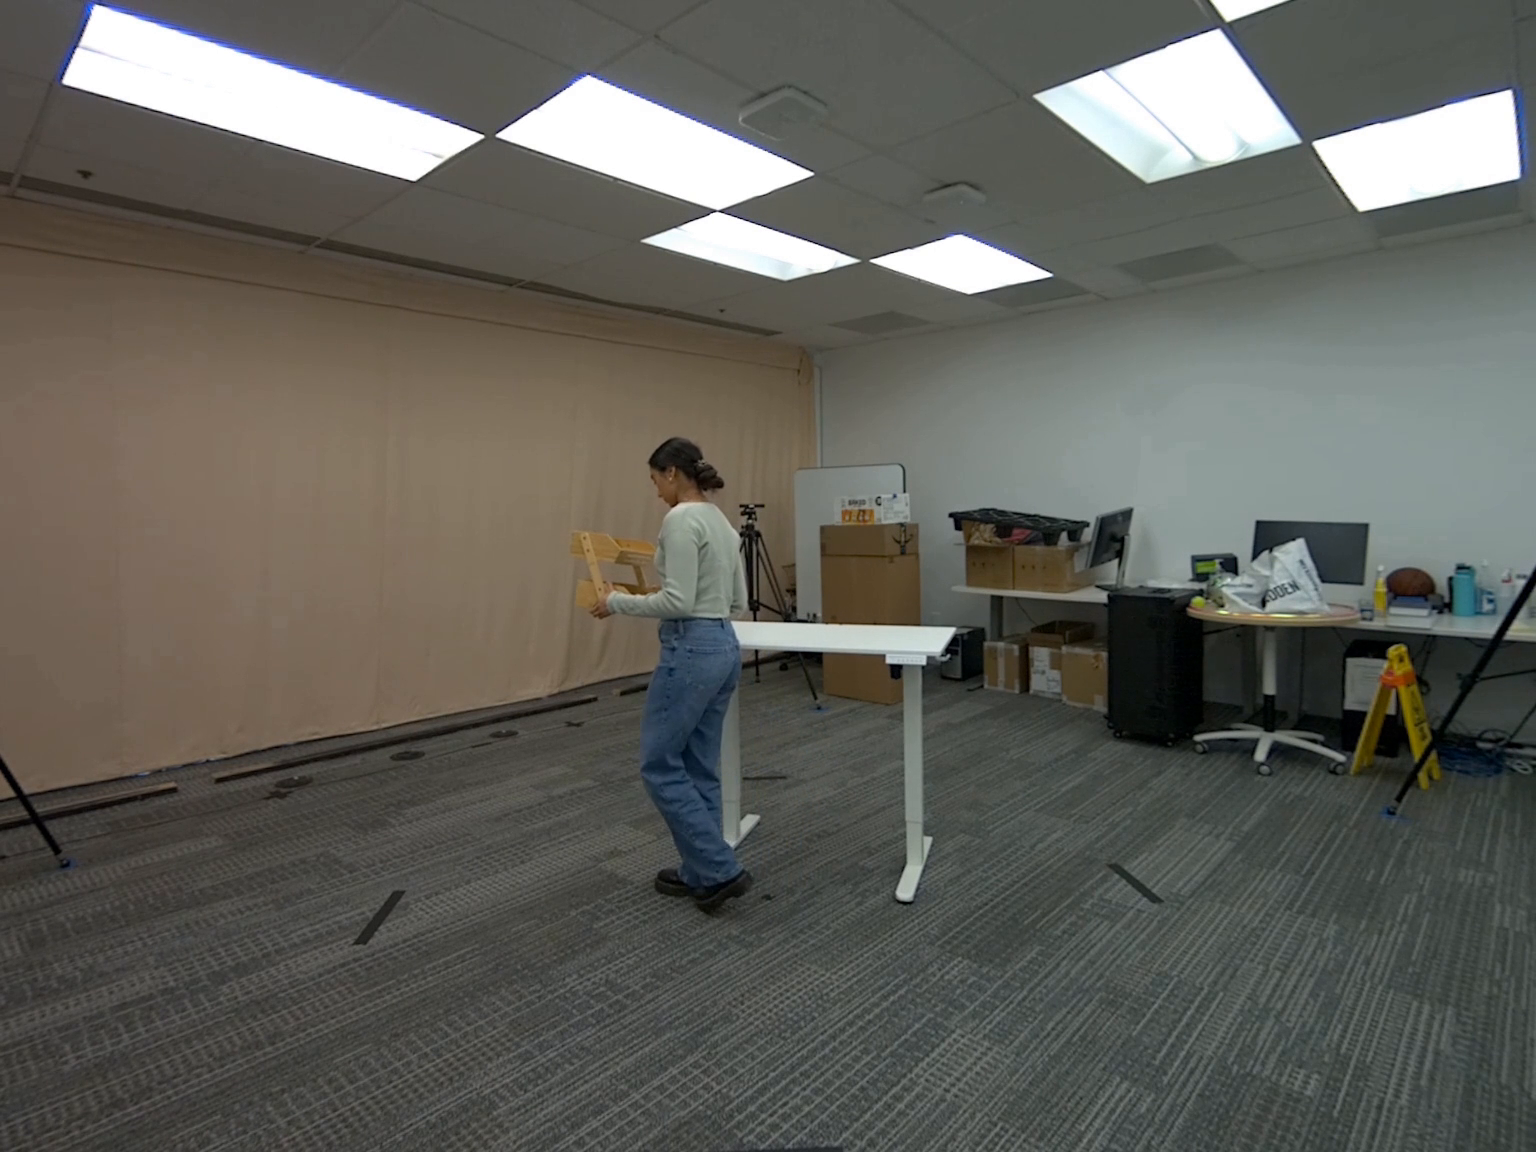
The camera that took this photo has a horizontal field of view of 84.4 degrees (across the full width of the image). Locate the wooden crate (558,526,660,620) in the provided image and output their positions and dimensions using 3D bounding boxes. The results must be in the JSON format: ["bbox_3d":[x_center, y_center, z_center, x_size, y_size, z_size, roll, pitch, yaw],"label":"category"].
[{"bbox_3d":[-0.514,-0.009,3.044,0.310,0.273,0.316,9,0,23],"label":"wooden crate"}]
